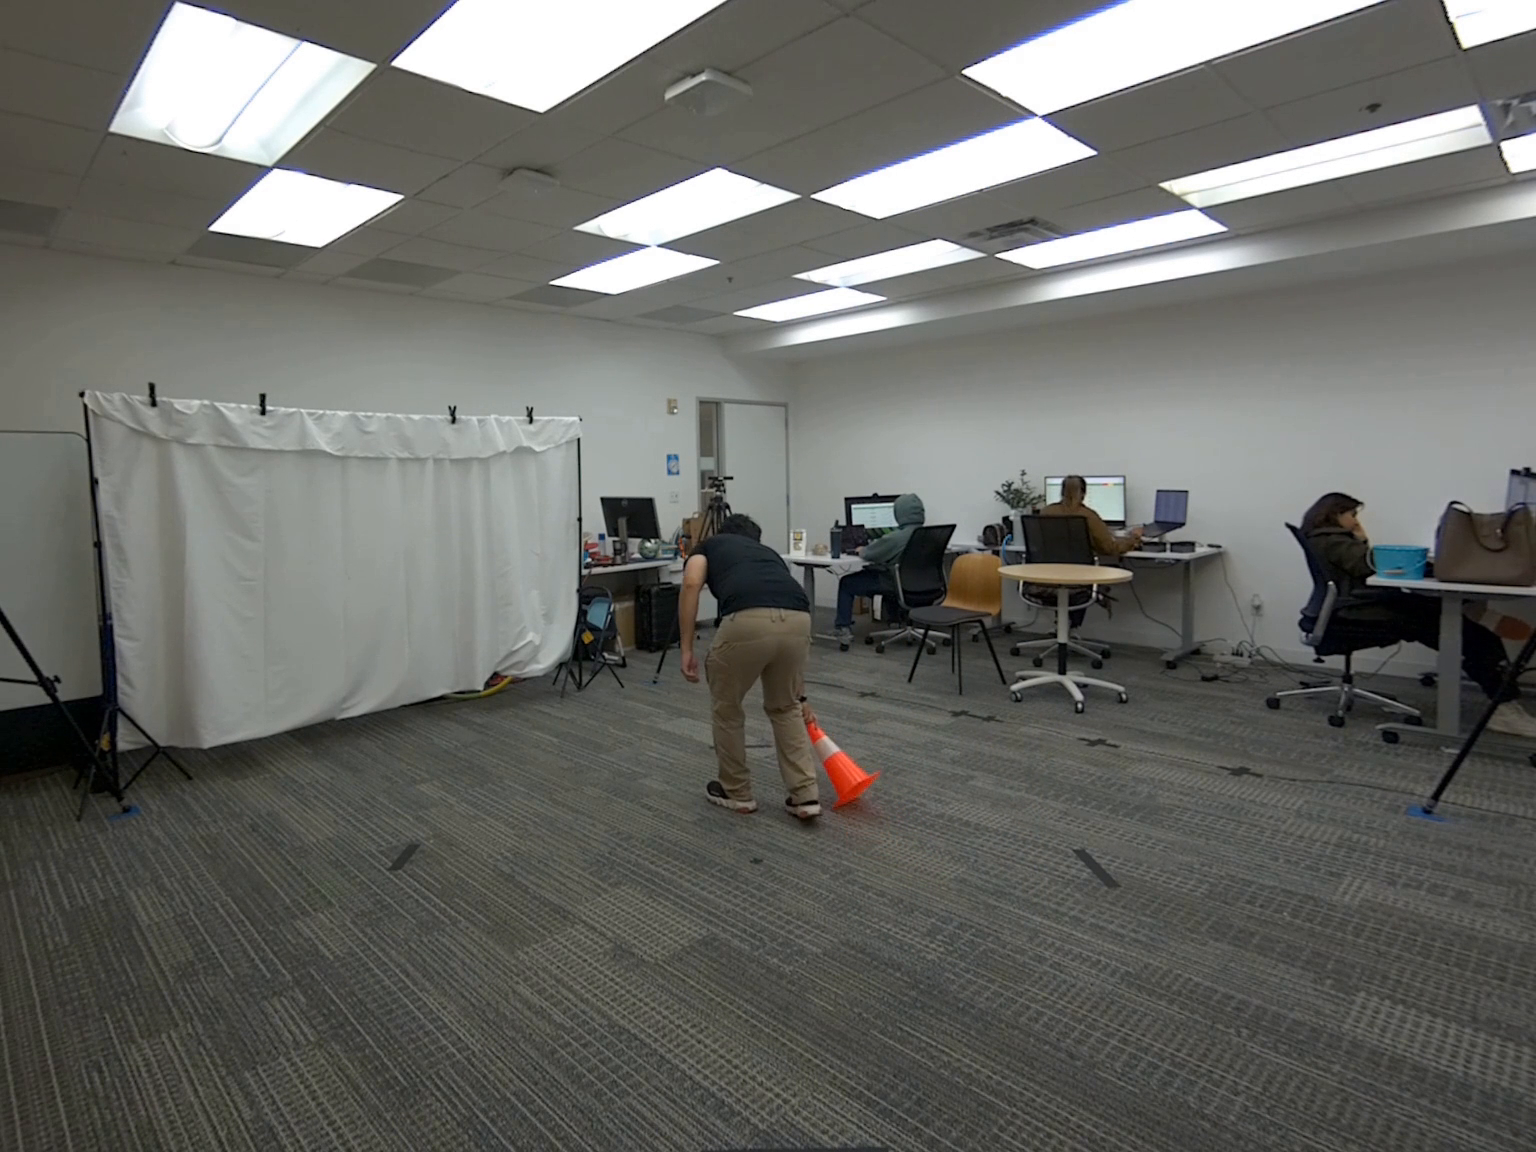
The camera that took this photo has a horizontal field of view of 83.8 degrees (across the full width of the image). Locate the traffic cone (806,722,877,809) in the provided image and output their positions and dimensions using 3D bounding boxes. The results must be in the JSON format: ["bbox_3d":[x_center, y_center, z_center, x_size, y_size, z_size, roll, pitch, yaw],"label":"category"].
[{"bbox_3d":[0.262,0.763,3.671,0.198,0.204,0.396,-7,51,-45],"label":"traffic cone"}]
